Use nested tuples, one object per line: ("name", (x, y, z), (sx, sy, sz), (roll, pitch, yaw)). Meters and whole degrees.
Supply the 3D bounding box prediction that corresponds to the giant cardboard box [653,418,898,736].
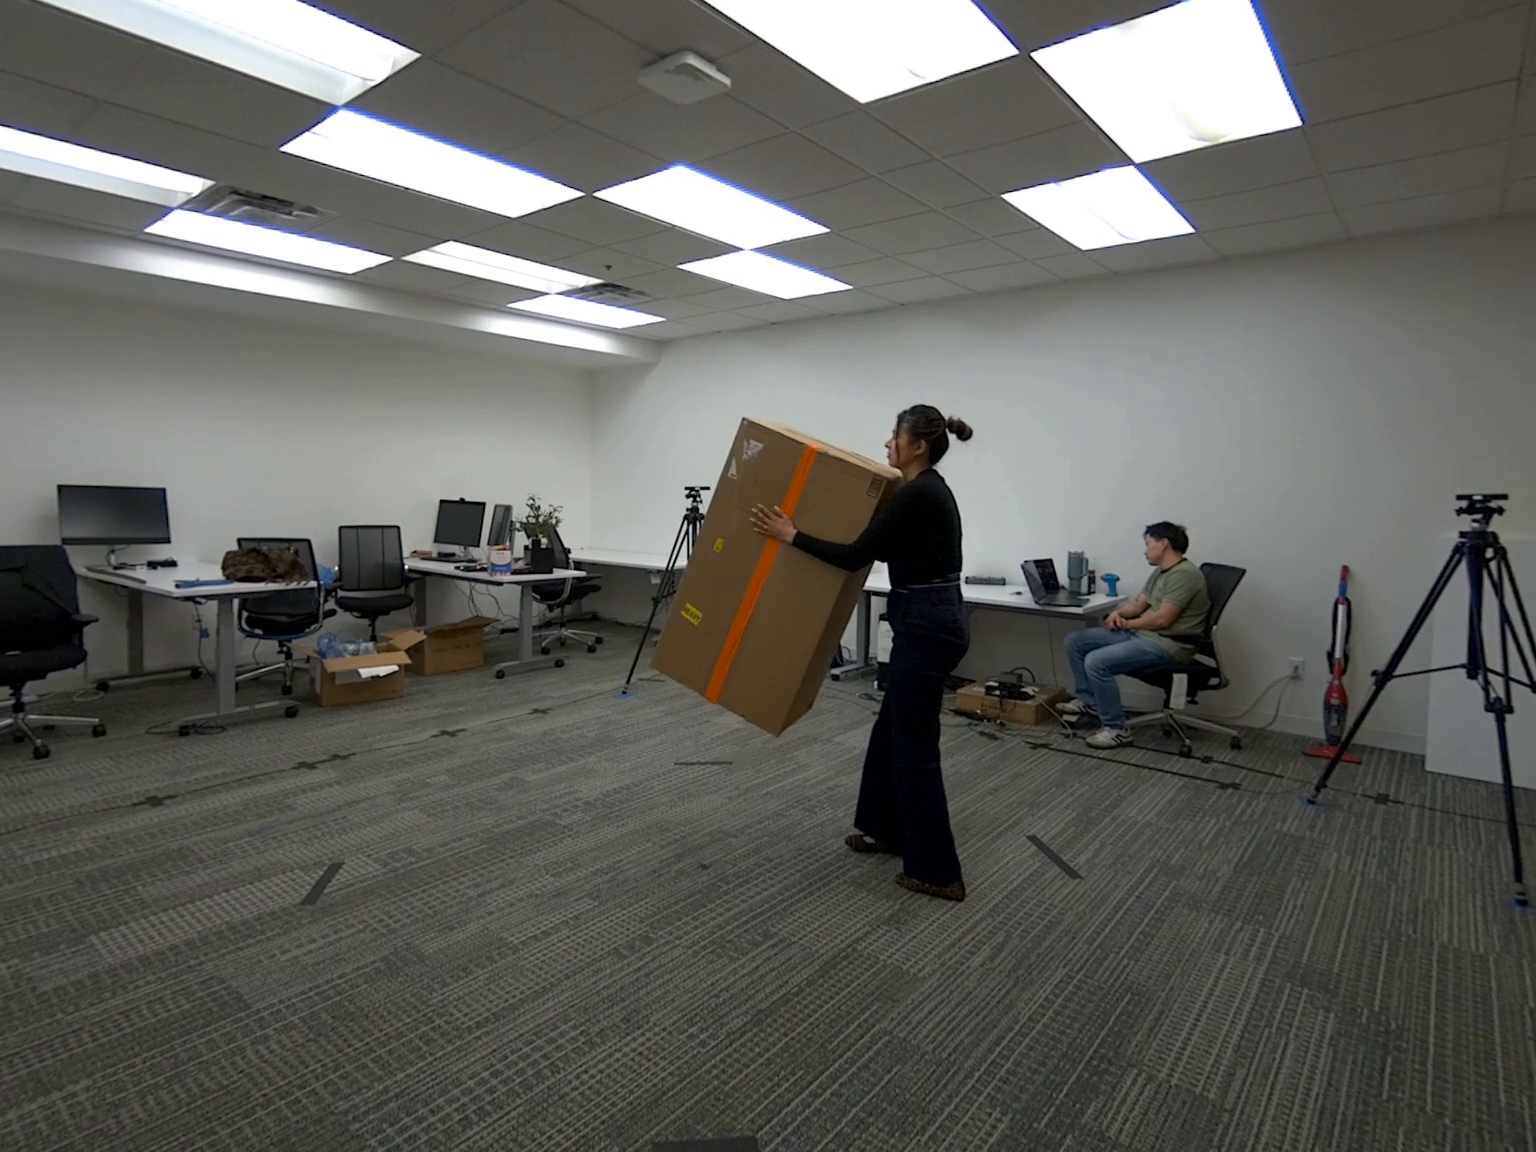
("giant cardboard box", (0.030, -0.015, 3.264), (0.593, 1.019, 0.418), (26, 13, 19))
